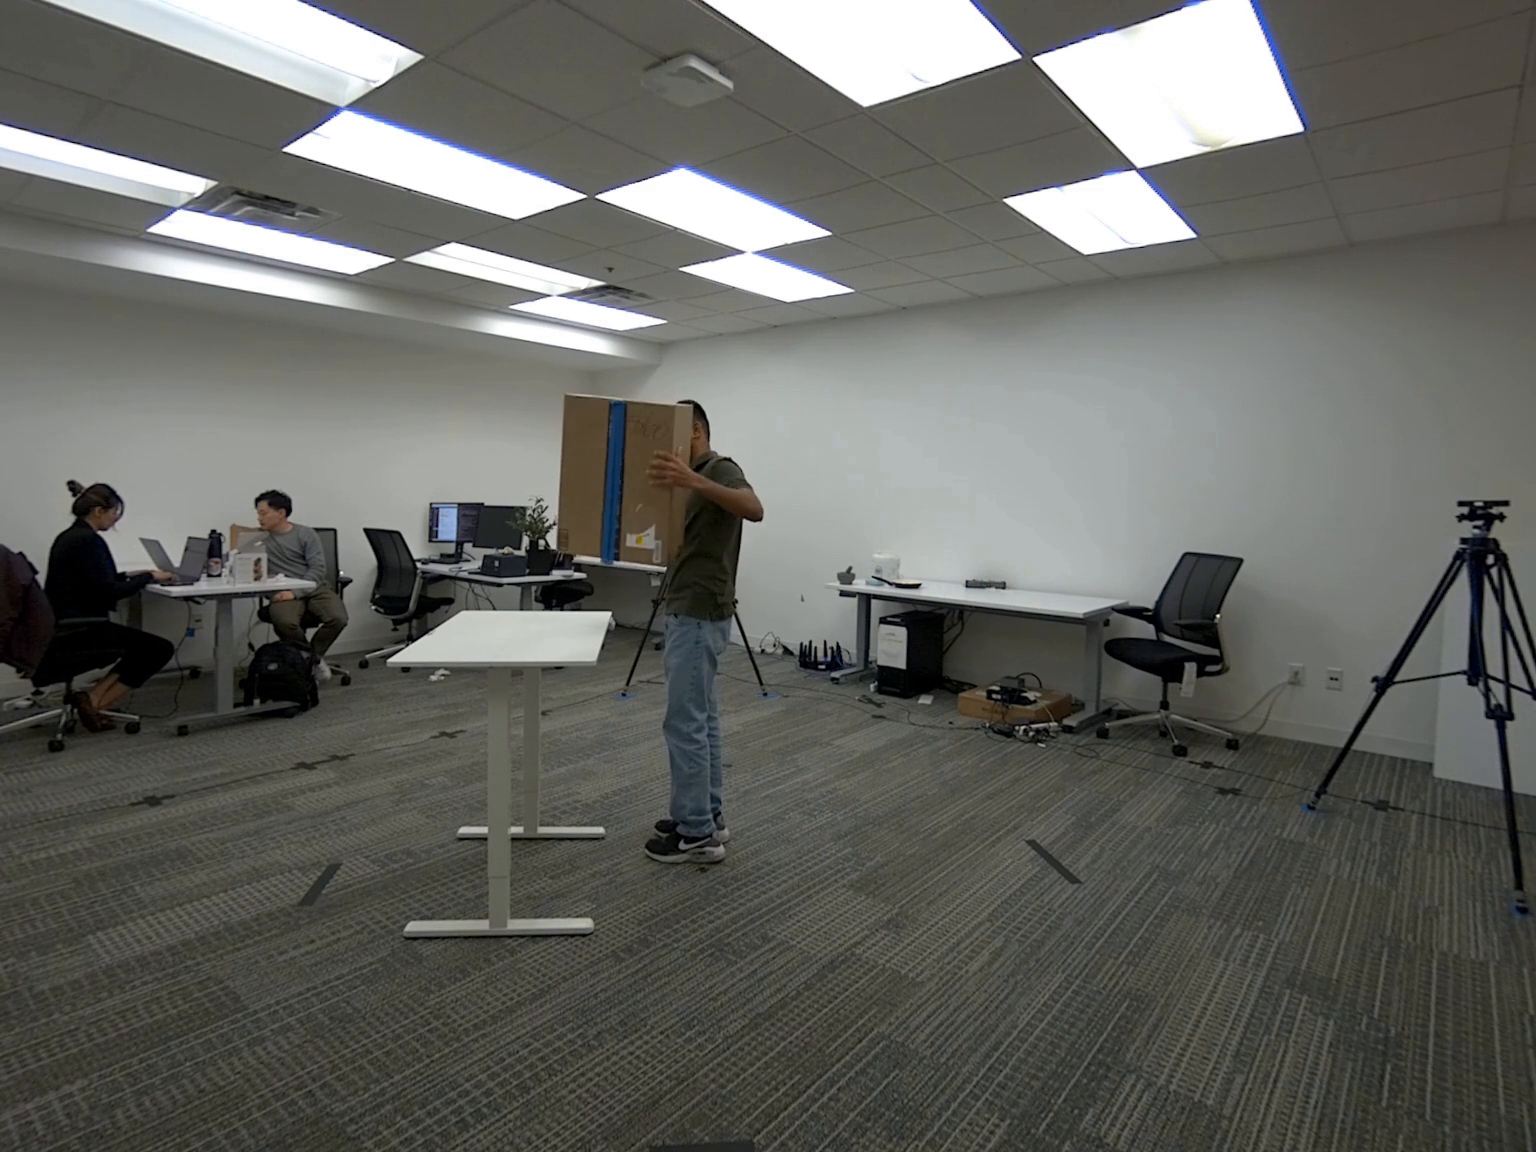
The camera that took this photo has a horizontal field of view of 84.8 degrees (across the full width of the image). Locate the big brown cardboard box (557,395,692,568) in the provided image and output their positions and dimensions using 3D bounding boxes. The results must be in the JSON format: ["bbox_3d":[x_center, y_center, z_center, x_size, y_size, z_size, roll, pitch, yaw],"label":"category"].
[{"bbox_3d":[-0.527,-0.333,3.067,0.424,0.584,0.231,6,9,12],"label":"big brown cardboard box"}]
